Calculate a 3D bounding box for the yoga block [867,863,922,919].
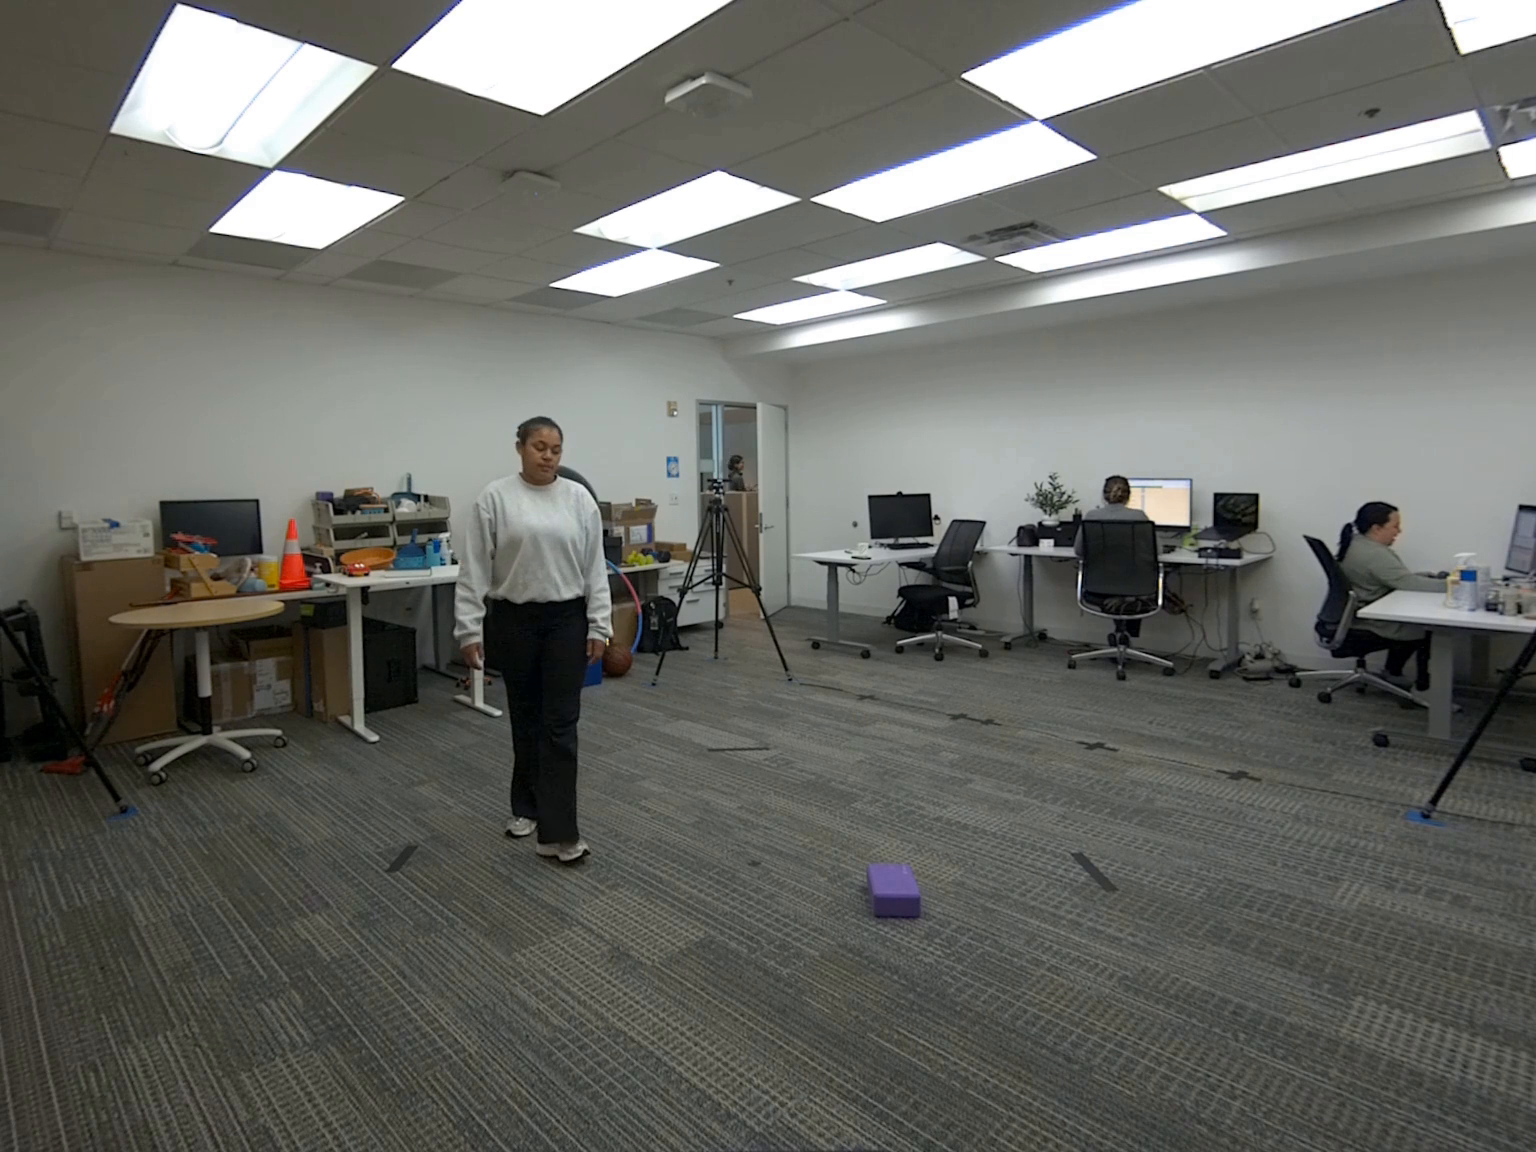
[{"bbox_3d":[0.417,1.032,2.809,0.149,0.076,0.230,-3,6,2],"label":"yoga block"}]
